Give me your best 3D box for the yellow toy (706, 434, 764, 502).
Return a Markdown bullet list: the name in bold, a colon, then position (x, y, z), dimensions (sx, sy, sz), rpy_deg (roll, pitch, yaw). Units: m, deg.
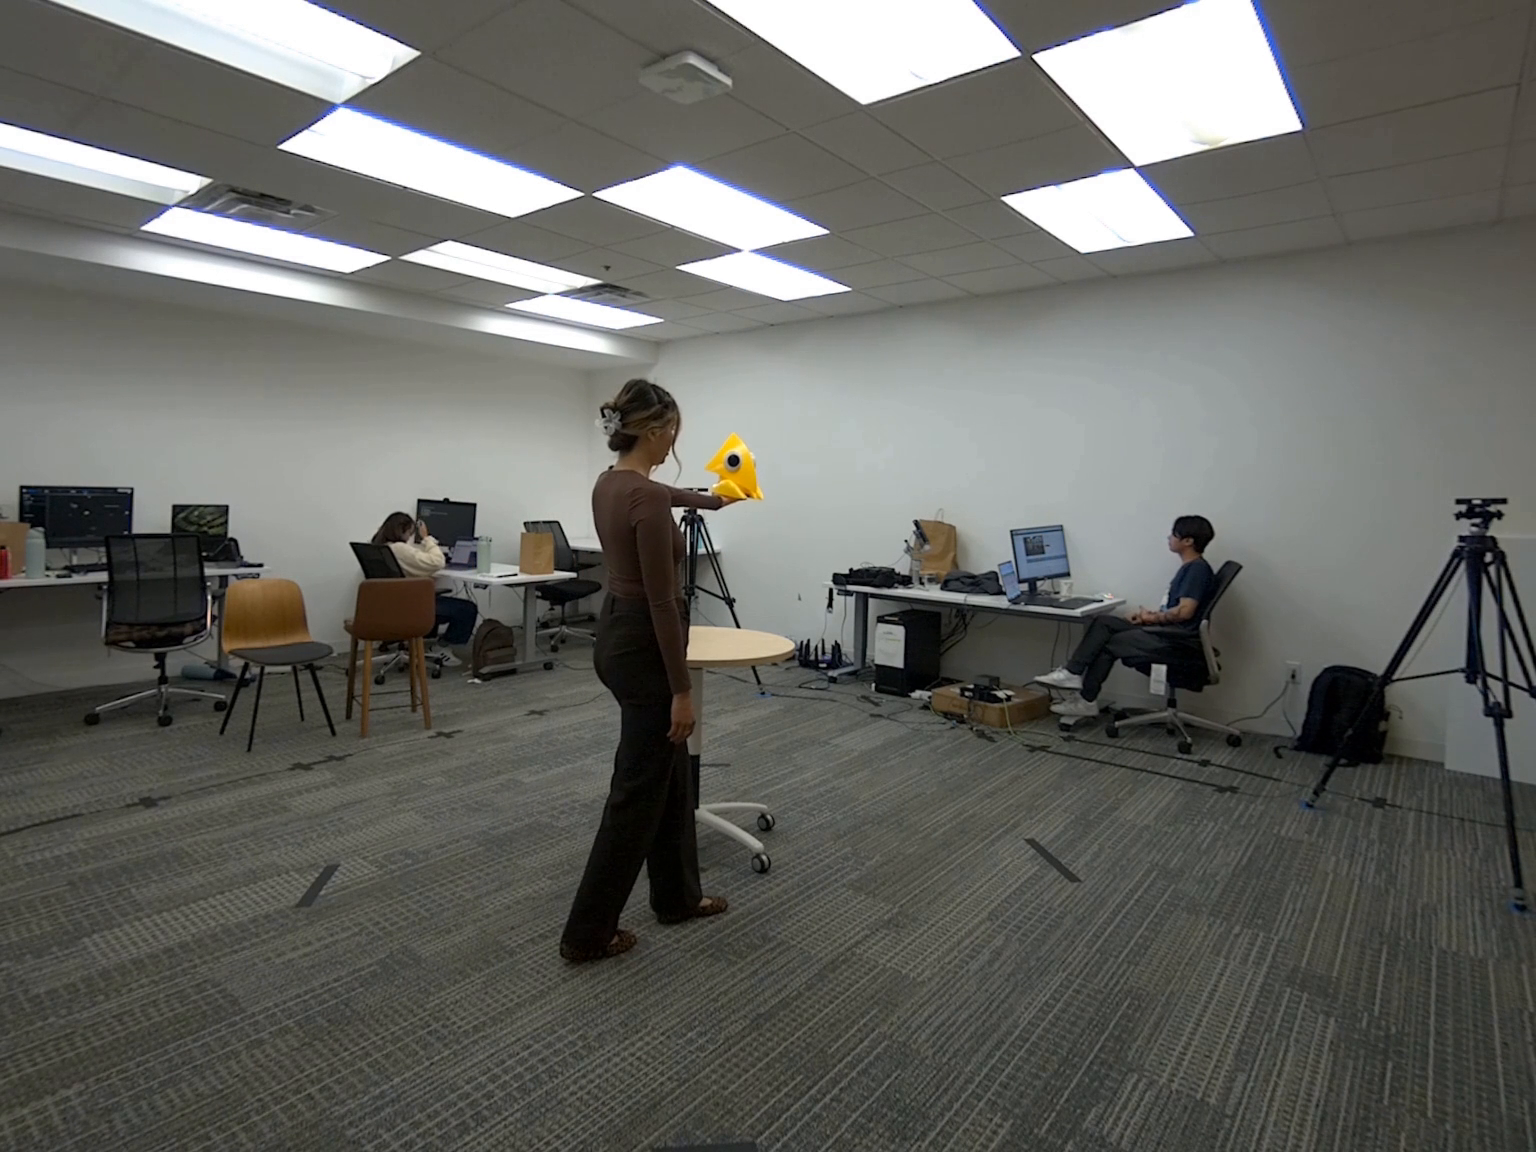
- **yellow toy**: position (-0.114, -0.423, 3.199), dimensions (0.200, 0.229, 0.198), rpy_deg (16, 9, 34)
